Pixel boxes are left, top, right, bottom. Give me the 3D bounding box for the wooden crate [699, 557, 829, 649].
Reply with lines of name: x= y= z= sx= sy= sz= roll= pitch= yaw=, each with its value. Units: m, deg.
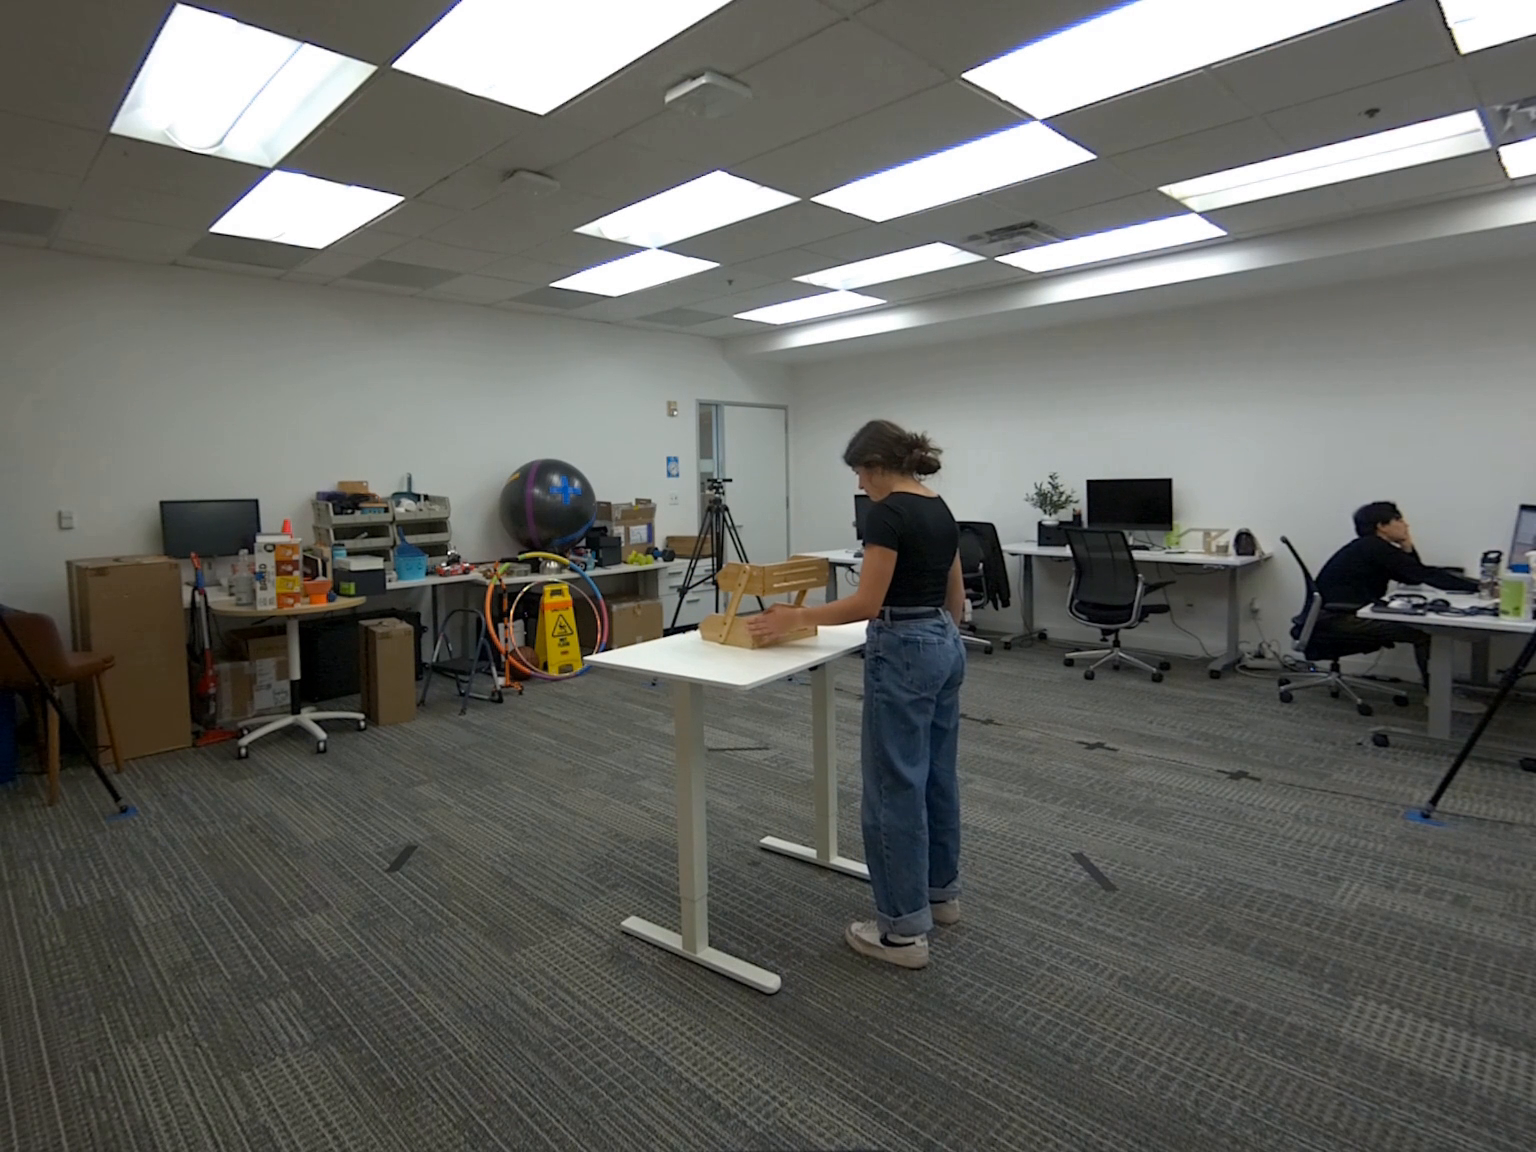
wooden crate: x=-0.010 y=0.070 z=2.754 sx=0.316 sy=0.272 sz=0.311 roll=-7 pitch=9 yaw=-44
